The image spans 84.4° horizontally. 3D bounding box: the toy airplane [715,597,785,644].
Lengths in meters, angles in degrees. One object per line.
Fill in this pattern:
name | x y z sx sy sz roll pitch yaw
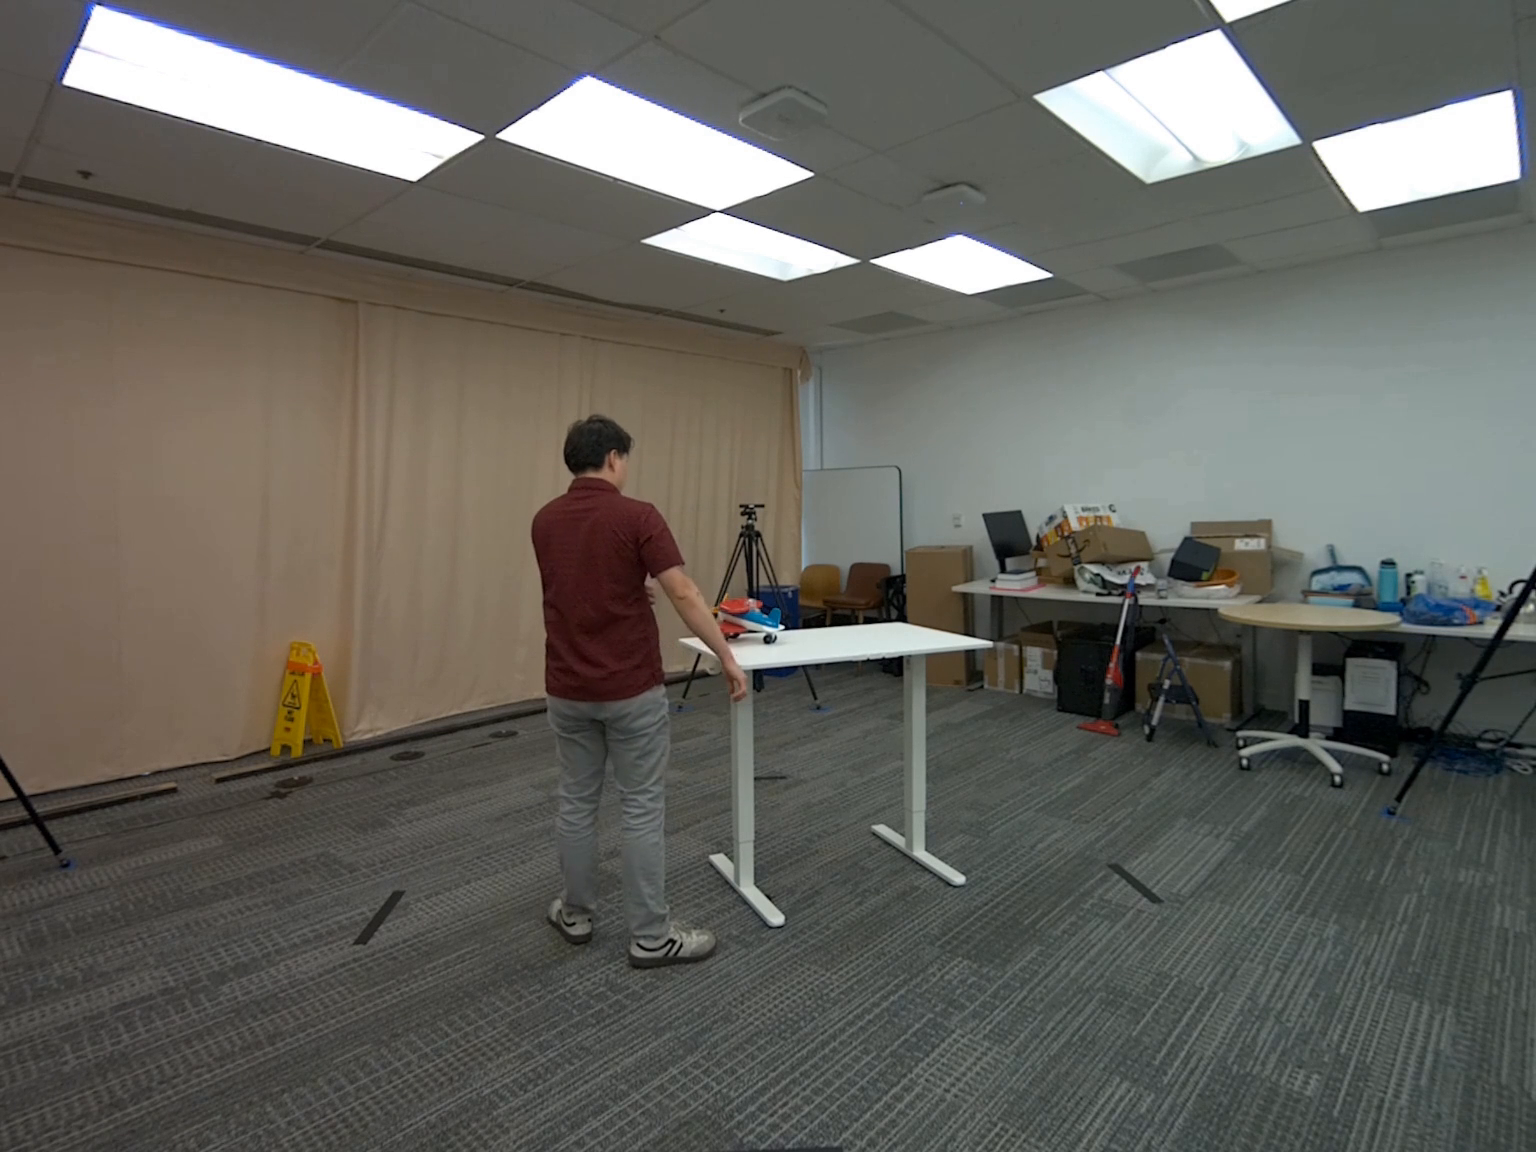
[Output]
toy airplane | -0.070 0.167 3.151 0.260 0.156 0.251 -1 5 1
